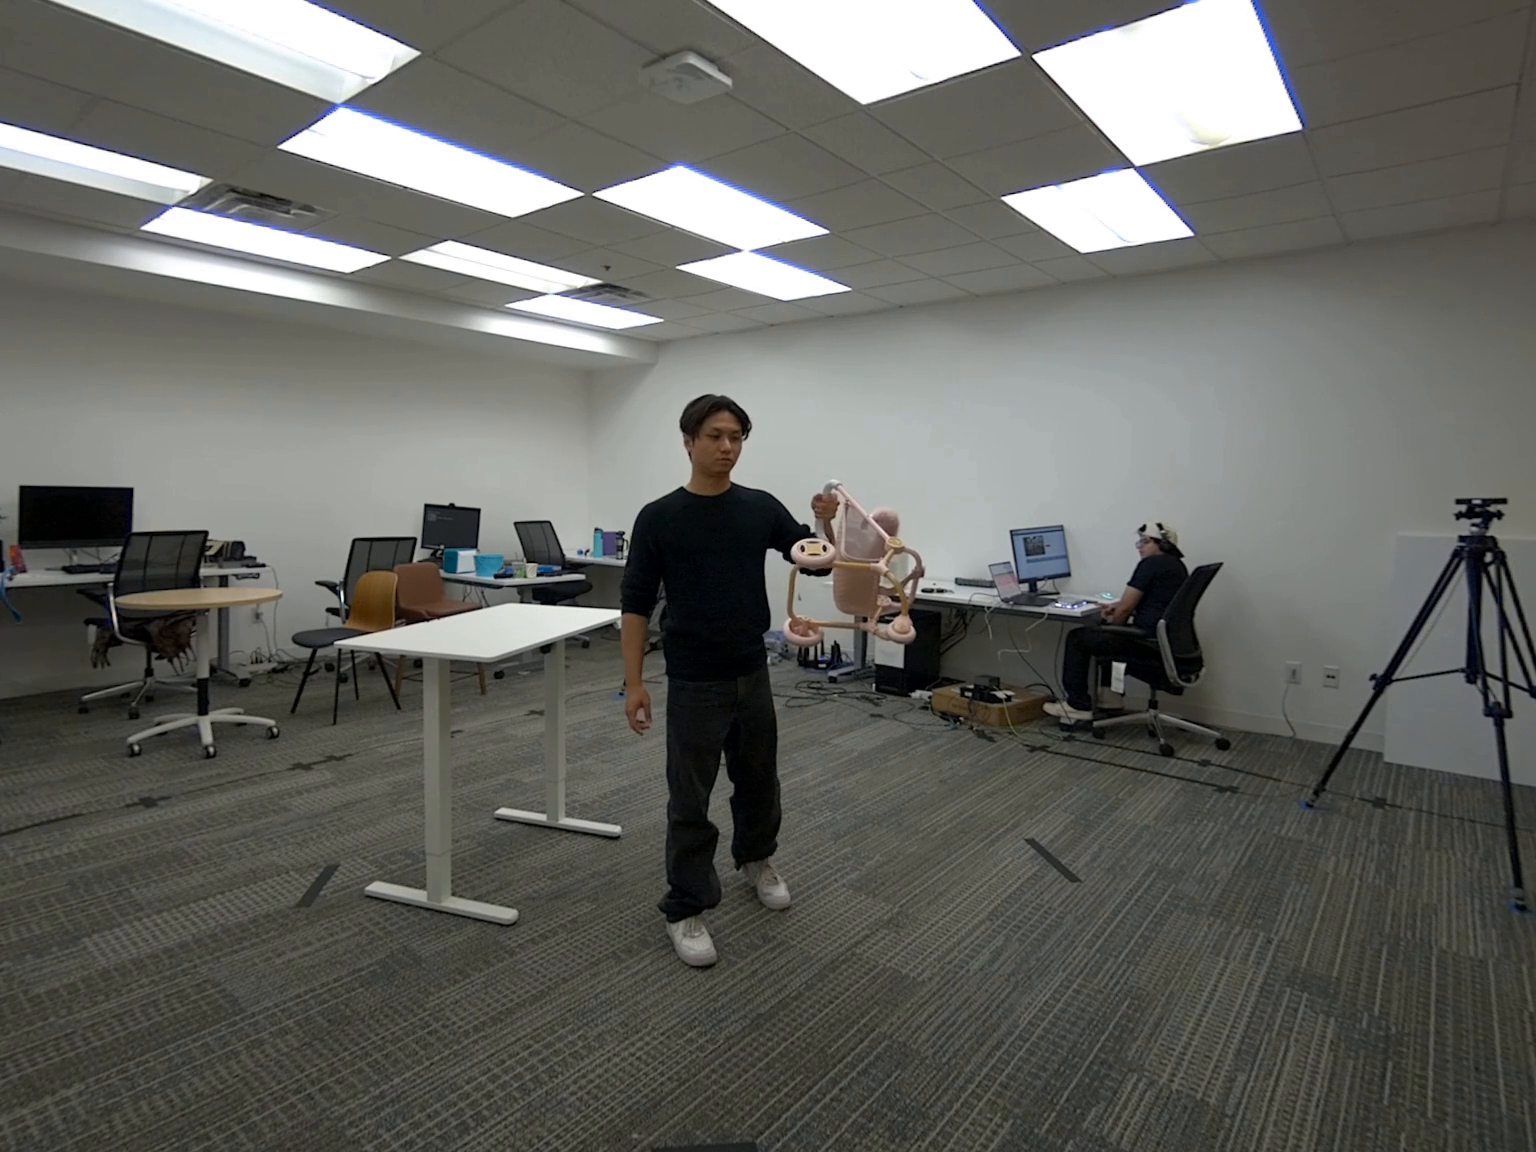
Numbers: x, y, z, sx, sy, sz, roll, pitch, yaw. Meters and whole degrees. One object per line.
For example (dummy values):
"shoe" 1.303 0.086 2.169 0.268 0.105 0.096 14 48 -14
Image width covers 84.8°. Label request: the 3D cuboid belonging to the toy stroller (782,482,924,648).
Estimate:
"toy stroller" 0.252 -0.024 2.251 0.347 0.274 0.540 9 36 13
